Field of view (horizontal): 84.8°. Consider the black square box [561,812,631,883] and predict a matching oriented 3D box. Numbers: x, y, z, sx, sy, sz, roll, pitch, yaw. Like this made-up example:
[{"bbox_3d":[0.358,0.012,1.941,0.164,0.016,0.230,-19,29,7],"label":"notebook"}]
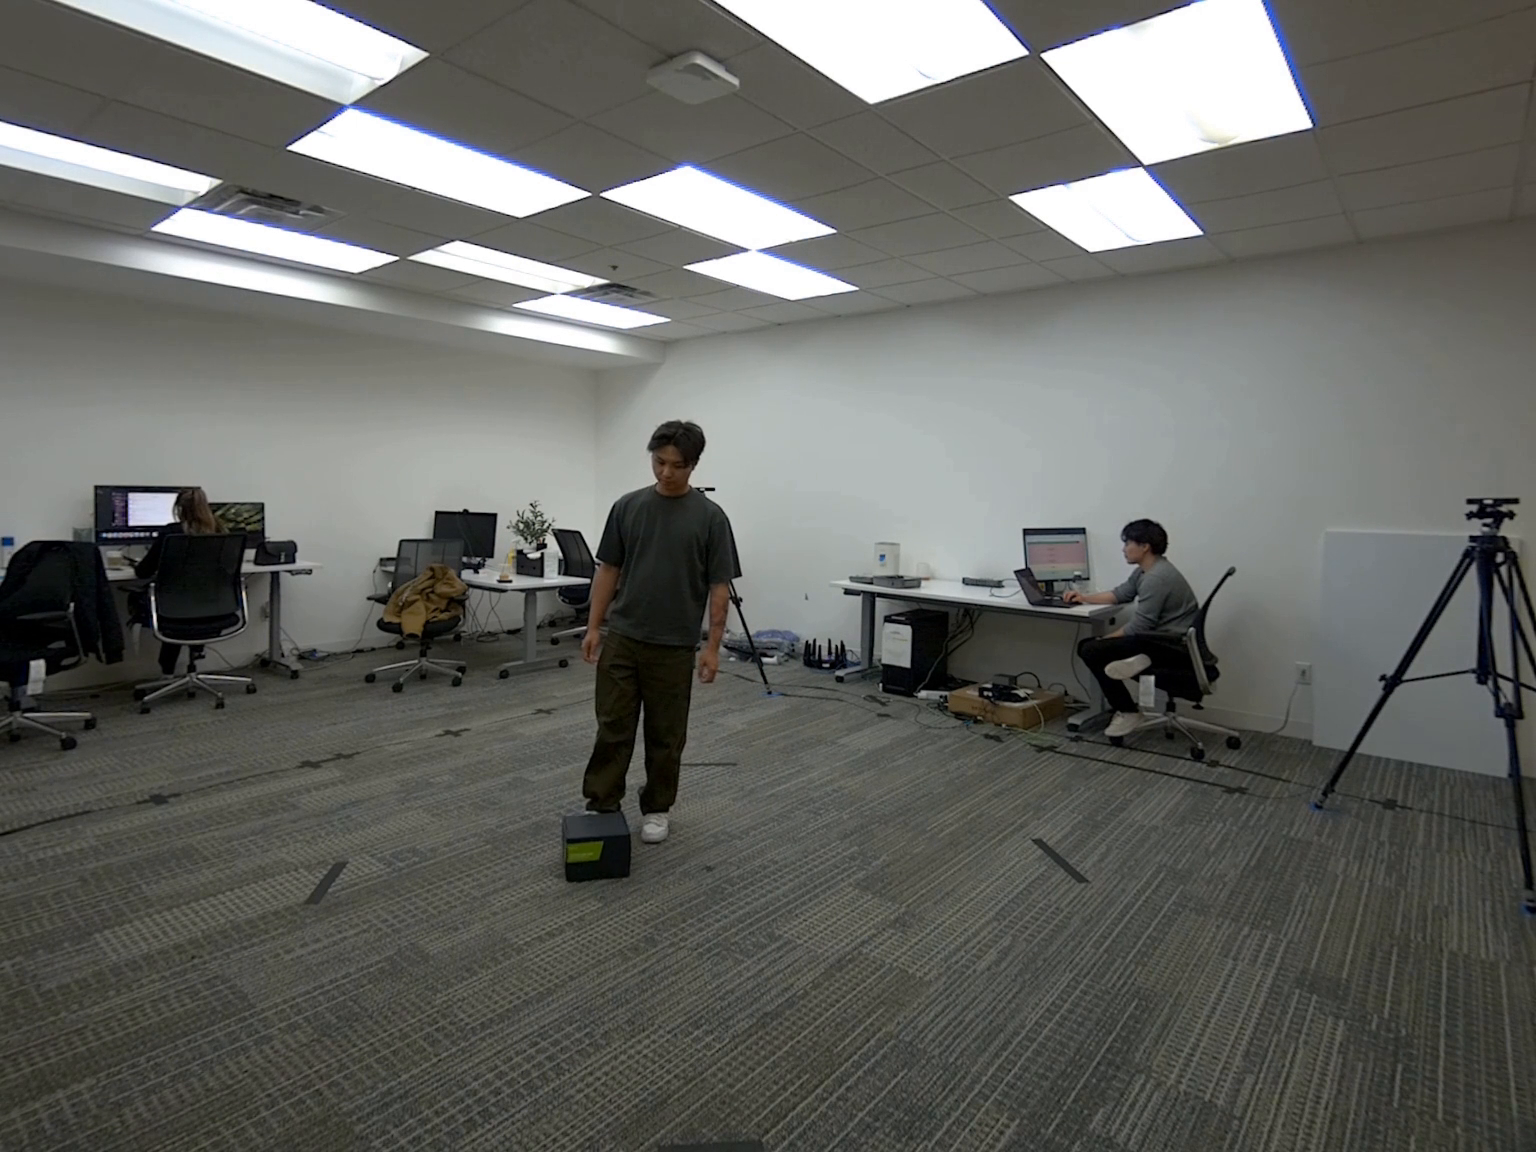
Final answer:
[{"bbox_3d":[-0.641,0.977,3.098,0.224,0.155,0.221,0,5,-15],"label":"black square box"}]
